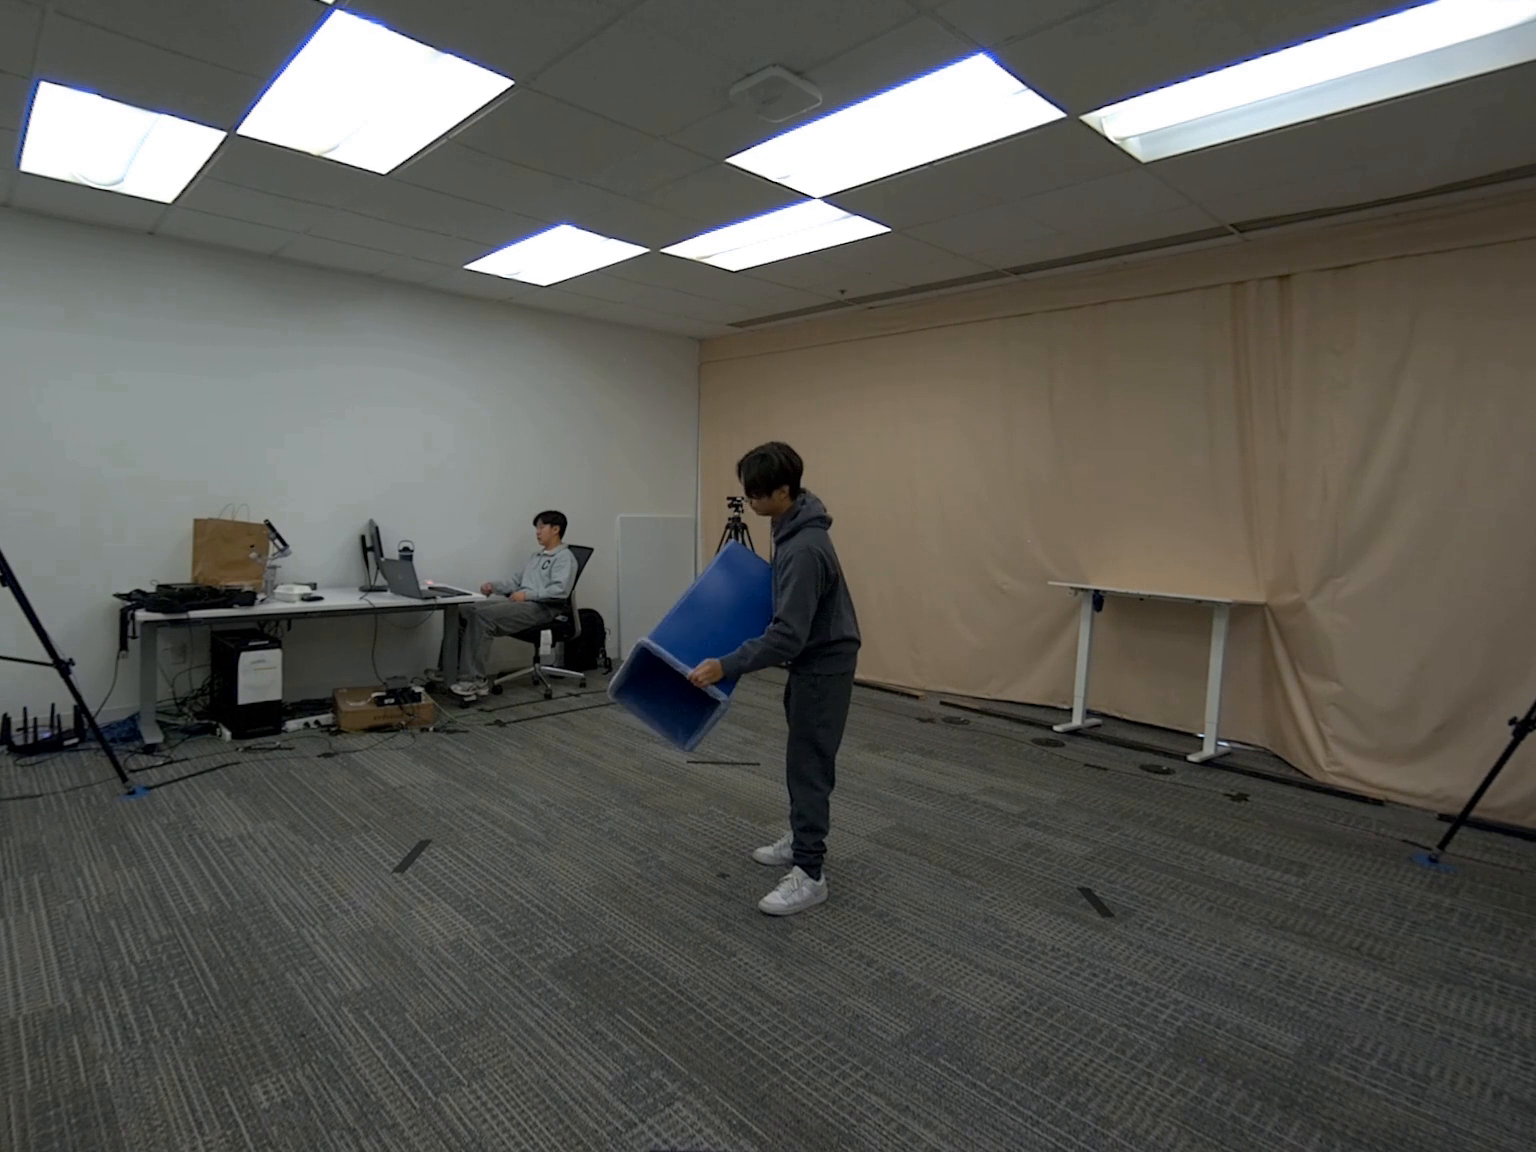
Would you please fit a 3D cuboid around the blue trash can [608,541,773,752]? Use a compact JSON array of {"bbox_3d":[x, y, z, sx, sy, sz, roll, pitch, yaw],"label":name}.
[{"bbox_3d":[-0.225,0.232,3.132,0.378,0.372,0.716,36,41,-1],"label":"blue trash can"}]
